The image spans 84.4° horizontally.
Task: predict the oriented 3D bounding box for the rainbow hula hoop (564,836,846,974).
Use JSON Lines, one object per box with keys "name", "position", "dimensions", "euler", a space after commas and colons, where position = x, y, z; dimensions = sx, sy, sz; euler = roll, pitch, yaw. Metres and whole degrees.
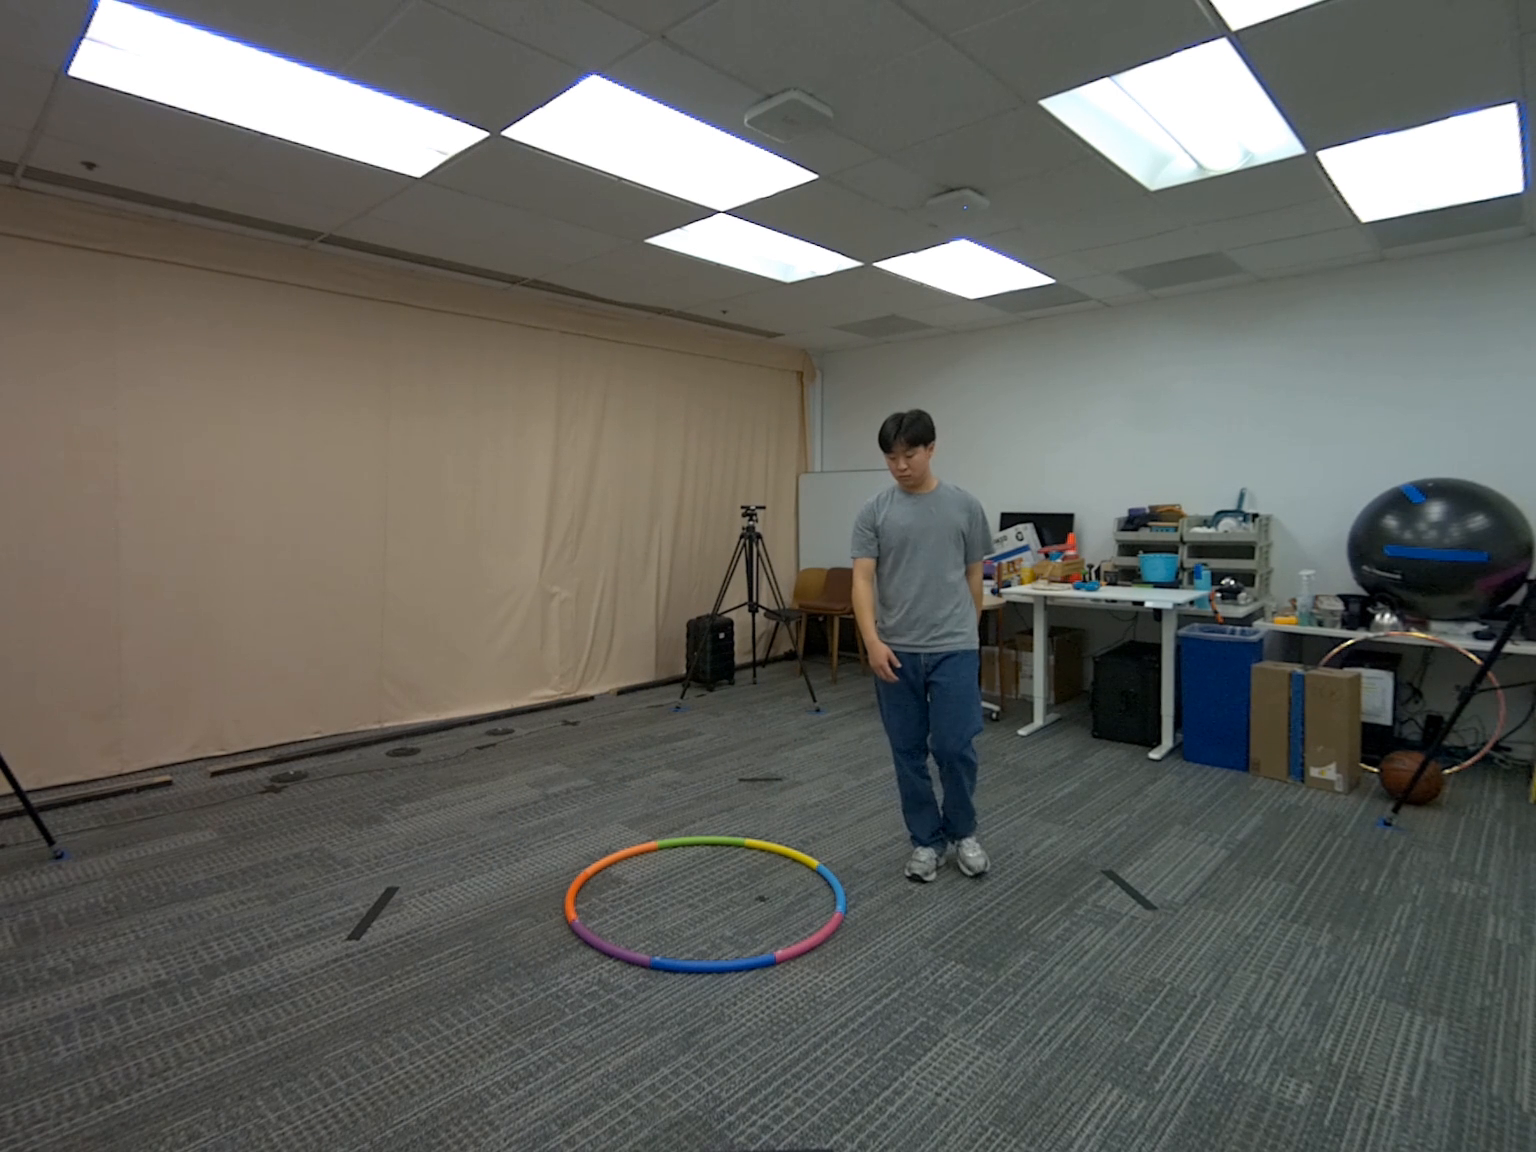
{"name": "rainbow hula hoop", "position": [-0.221, 1.114, 2.990], "dimensions": [0.978, 0.035, 0.982], "euler": [-1, 5, -2]}
